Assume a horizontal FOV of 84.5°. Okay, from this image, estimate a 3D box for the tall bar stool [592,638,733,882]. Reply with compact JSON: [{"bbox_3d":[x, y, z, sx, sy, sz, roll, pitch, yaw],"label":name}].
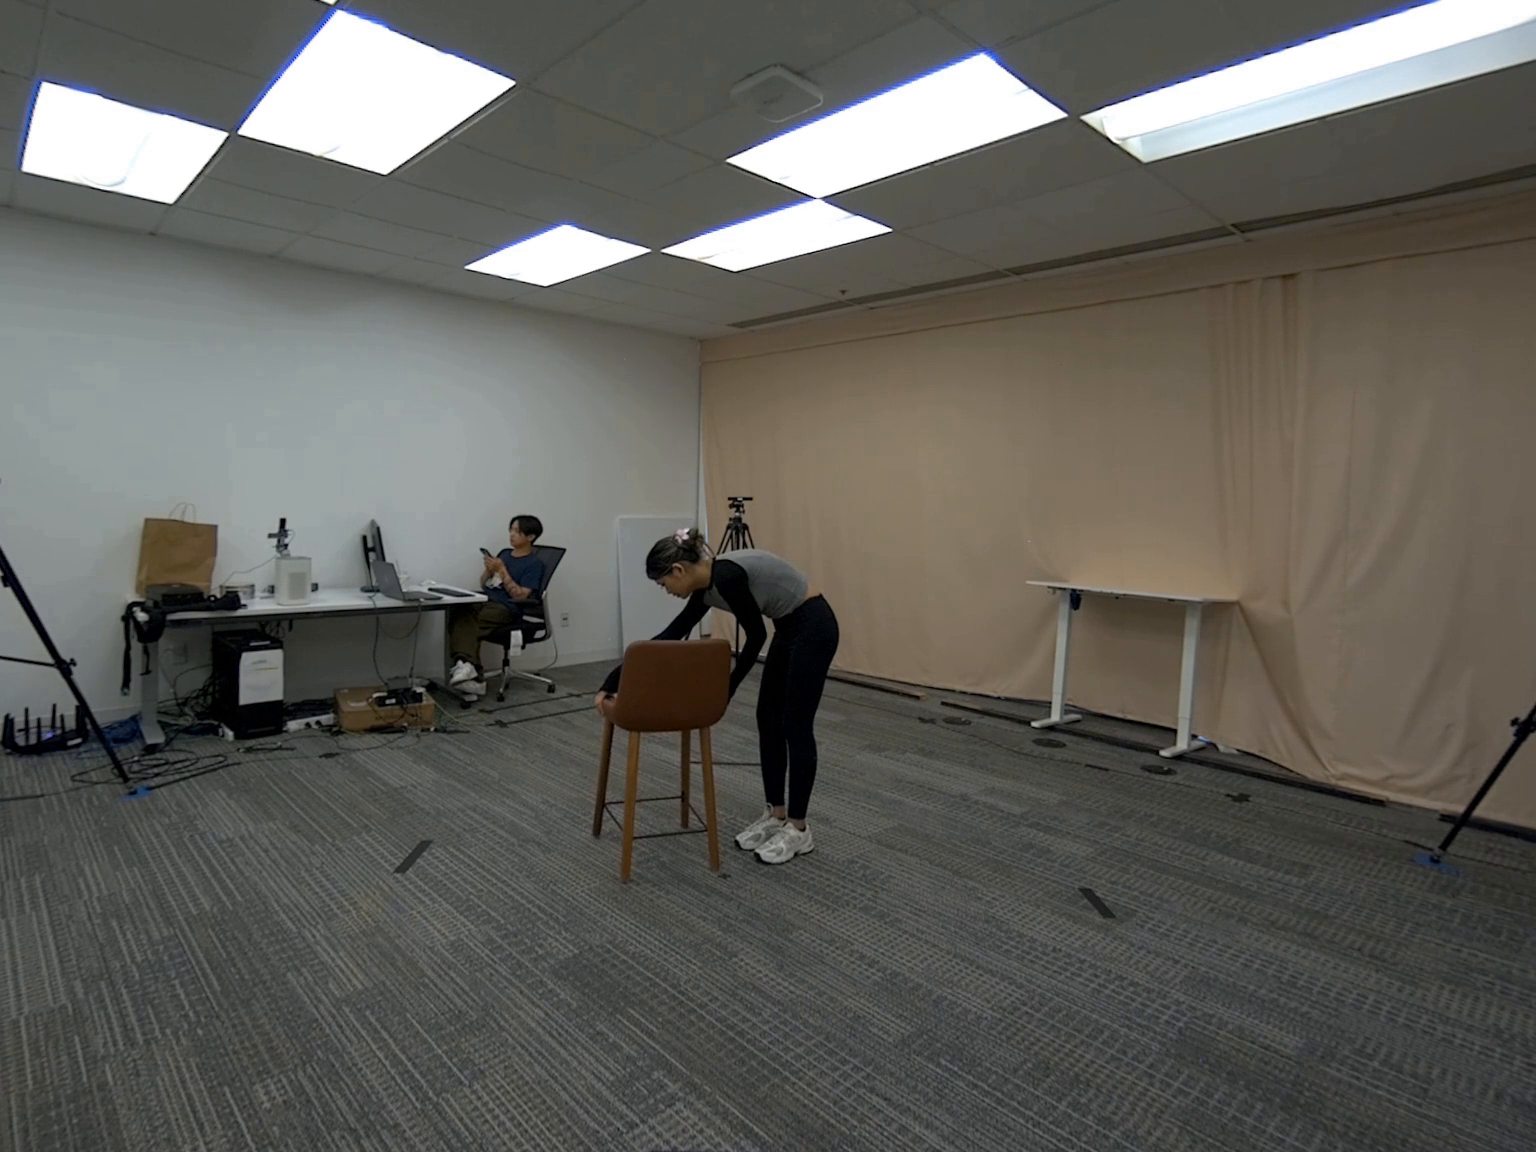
[{"bbox_3d":[-0.428,0.646,3.266,0.449,0.887,0.477,2,5,-23],"label":"tall bar stool"}]
